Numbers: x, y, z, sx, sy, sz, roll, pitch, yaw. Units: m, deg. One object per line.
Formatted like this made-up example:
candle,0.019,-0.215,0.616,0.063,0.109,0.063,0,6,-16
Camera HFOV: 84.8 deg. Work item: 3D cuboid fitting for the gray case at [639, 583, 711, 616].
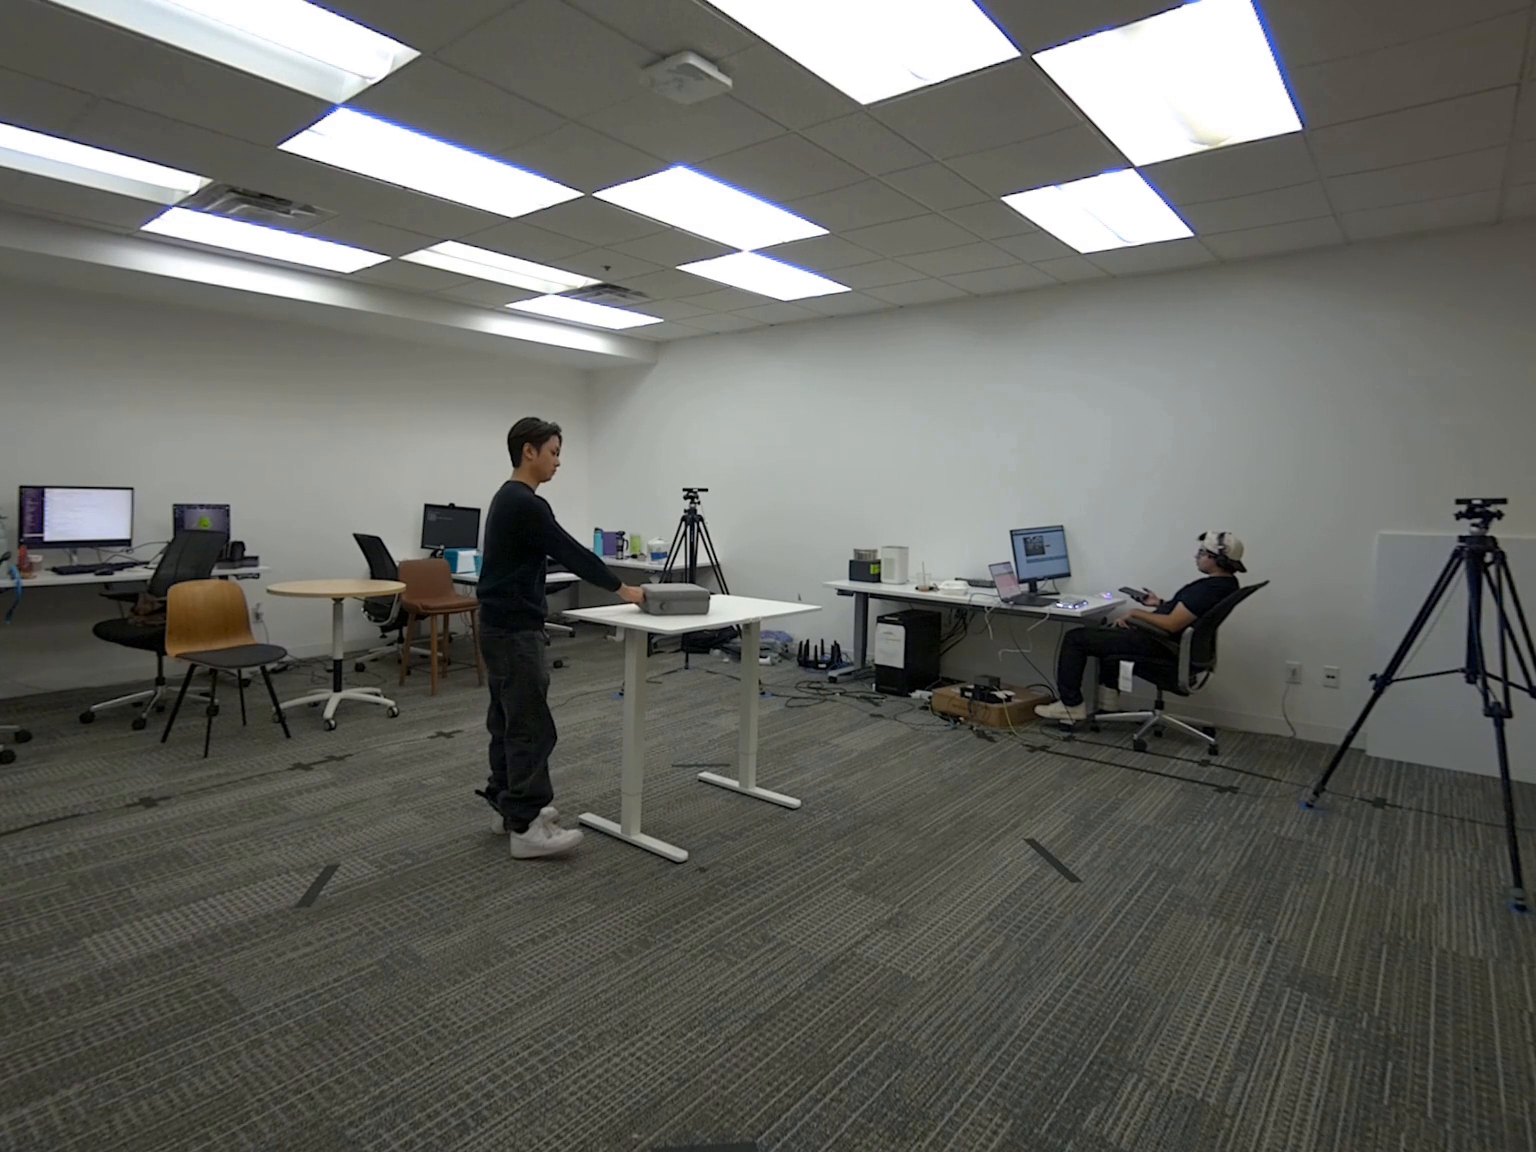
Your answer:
gray case,-0.405,0.094,3.506,0.255,0.104,0.263,-1,6,-20
